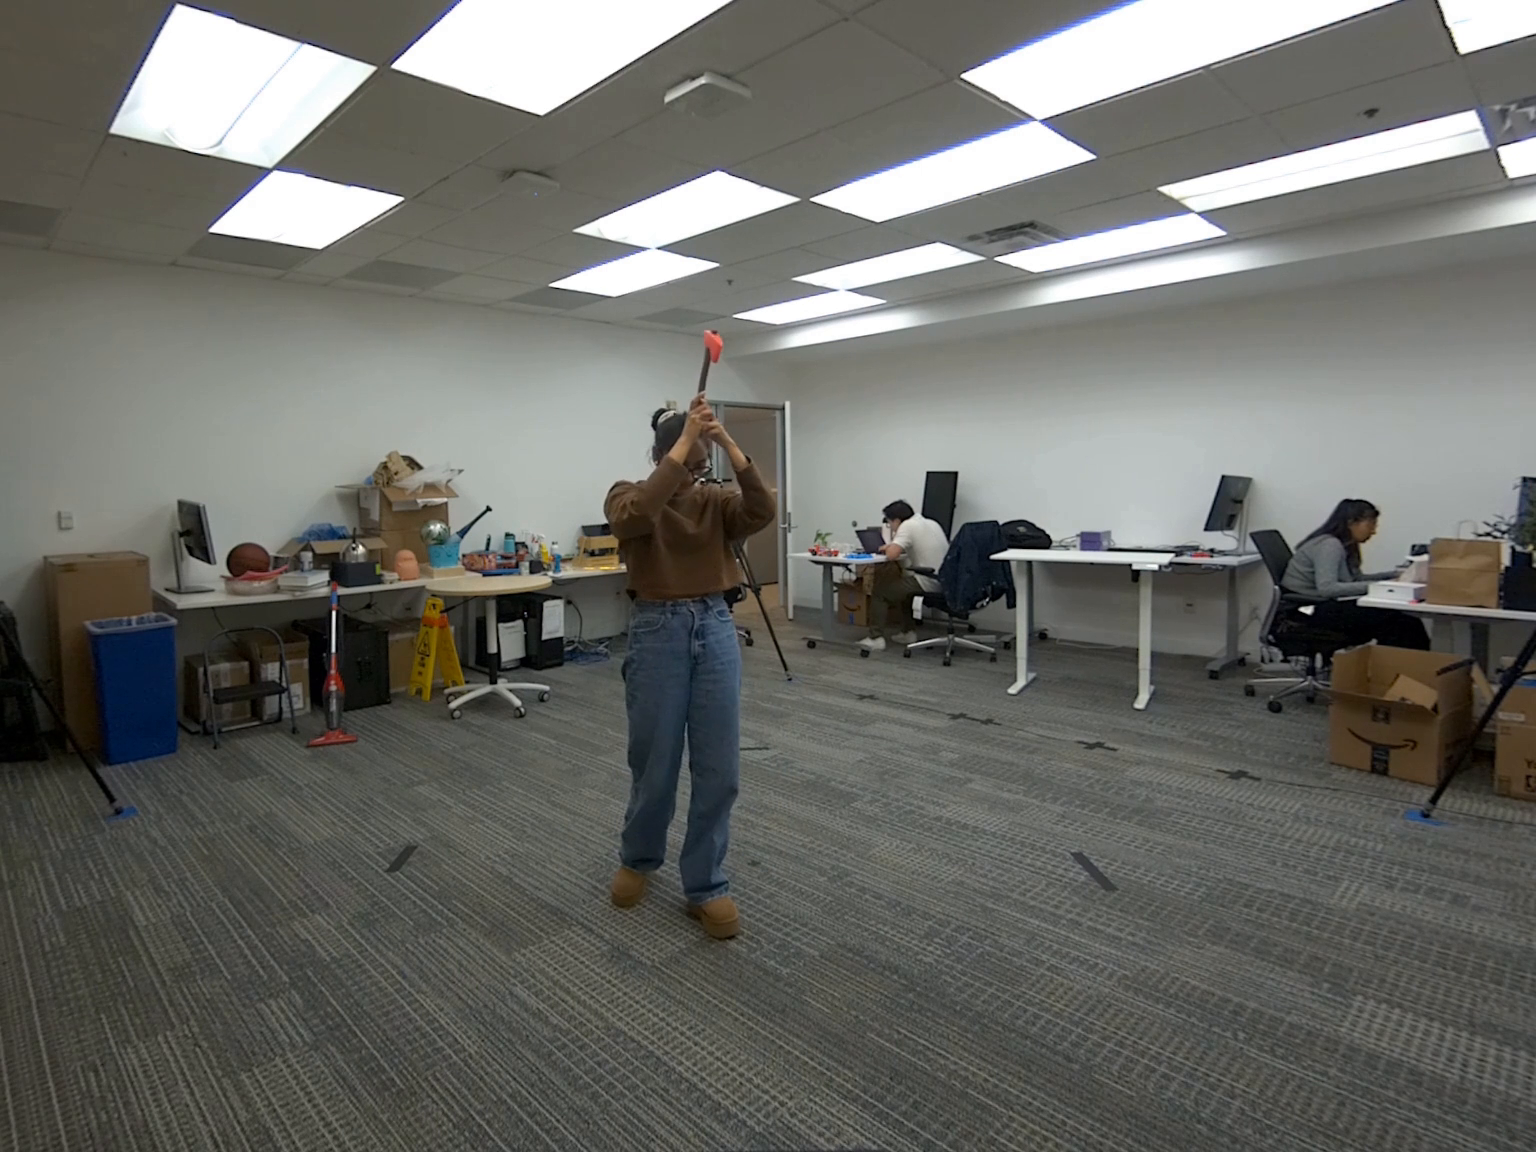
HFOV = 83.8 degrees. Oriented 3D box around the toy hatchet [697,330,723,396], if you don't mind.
[{"bbox_3d":[-0.164,-0.570,2.442,0.029,0.268,0.135,0,12,-29],"label":"toy hatchet"}]
